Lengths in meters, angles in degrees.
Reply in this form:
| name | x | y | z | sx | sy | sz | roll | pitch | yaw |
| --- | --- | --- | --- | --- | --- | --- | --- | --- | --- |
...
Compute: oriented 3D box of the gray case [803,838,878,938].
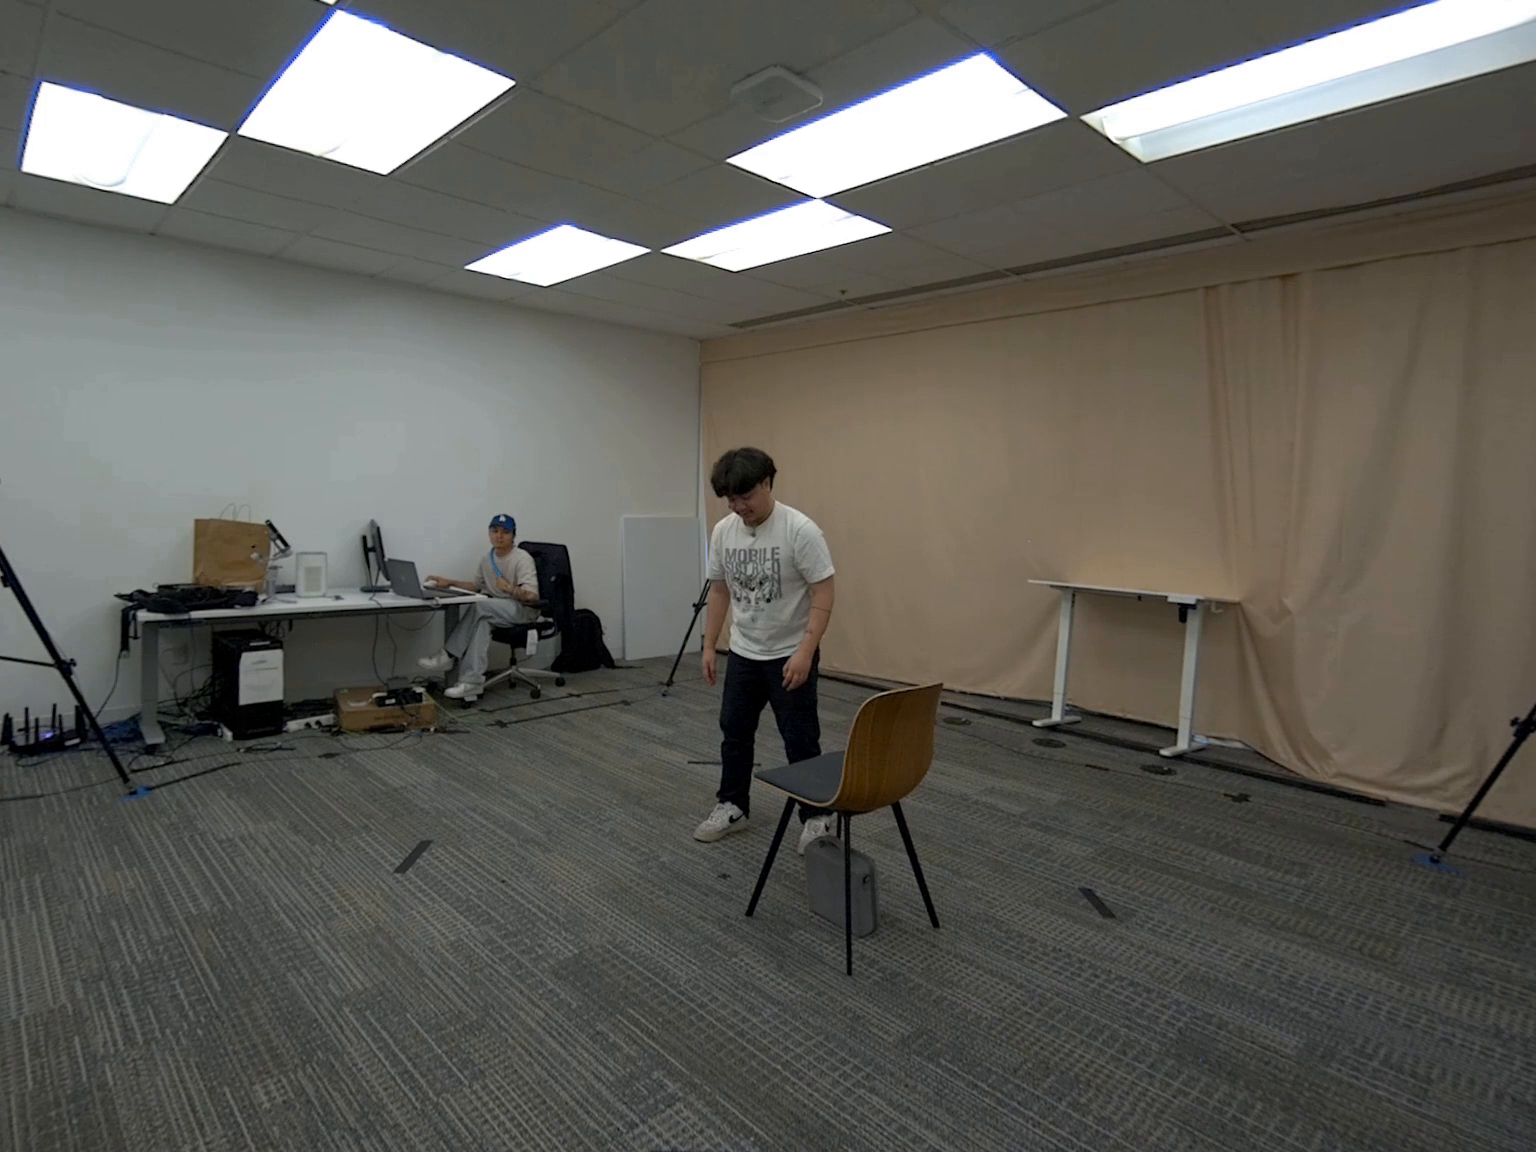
| name | x | y | z | sx | sy | sz | roll | pitch | yaw |
| --- | --- | --- | --- | --- | --- | --- | --- | --- | --- |
| gray case | 0.235 | 1.019 | 2.771 | 0.102 | 0.259 | 0.263 | -12 | 12 | -38 |
